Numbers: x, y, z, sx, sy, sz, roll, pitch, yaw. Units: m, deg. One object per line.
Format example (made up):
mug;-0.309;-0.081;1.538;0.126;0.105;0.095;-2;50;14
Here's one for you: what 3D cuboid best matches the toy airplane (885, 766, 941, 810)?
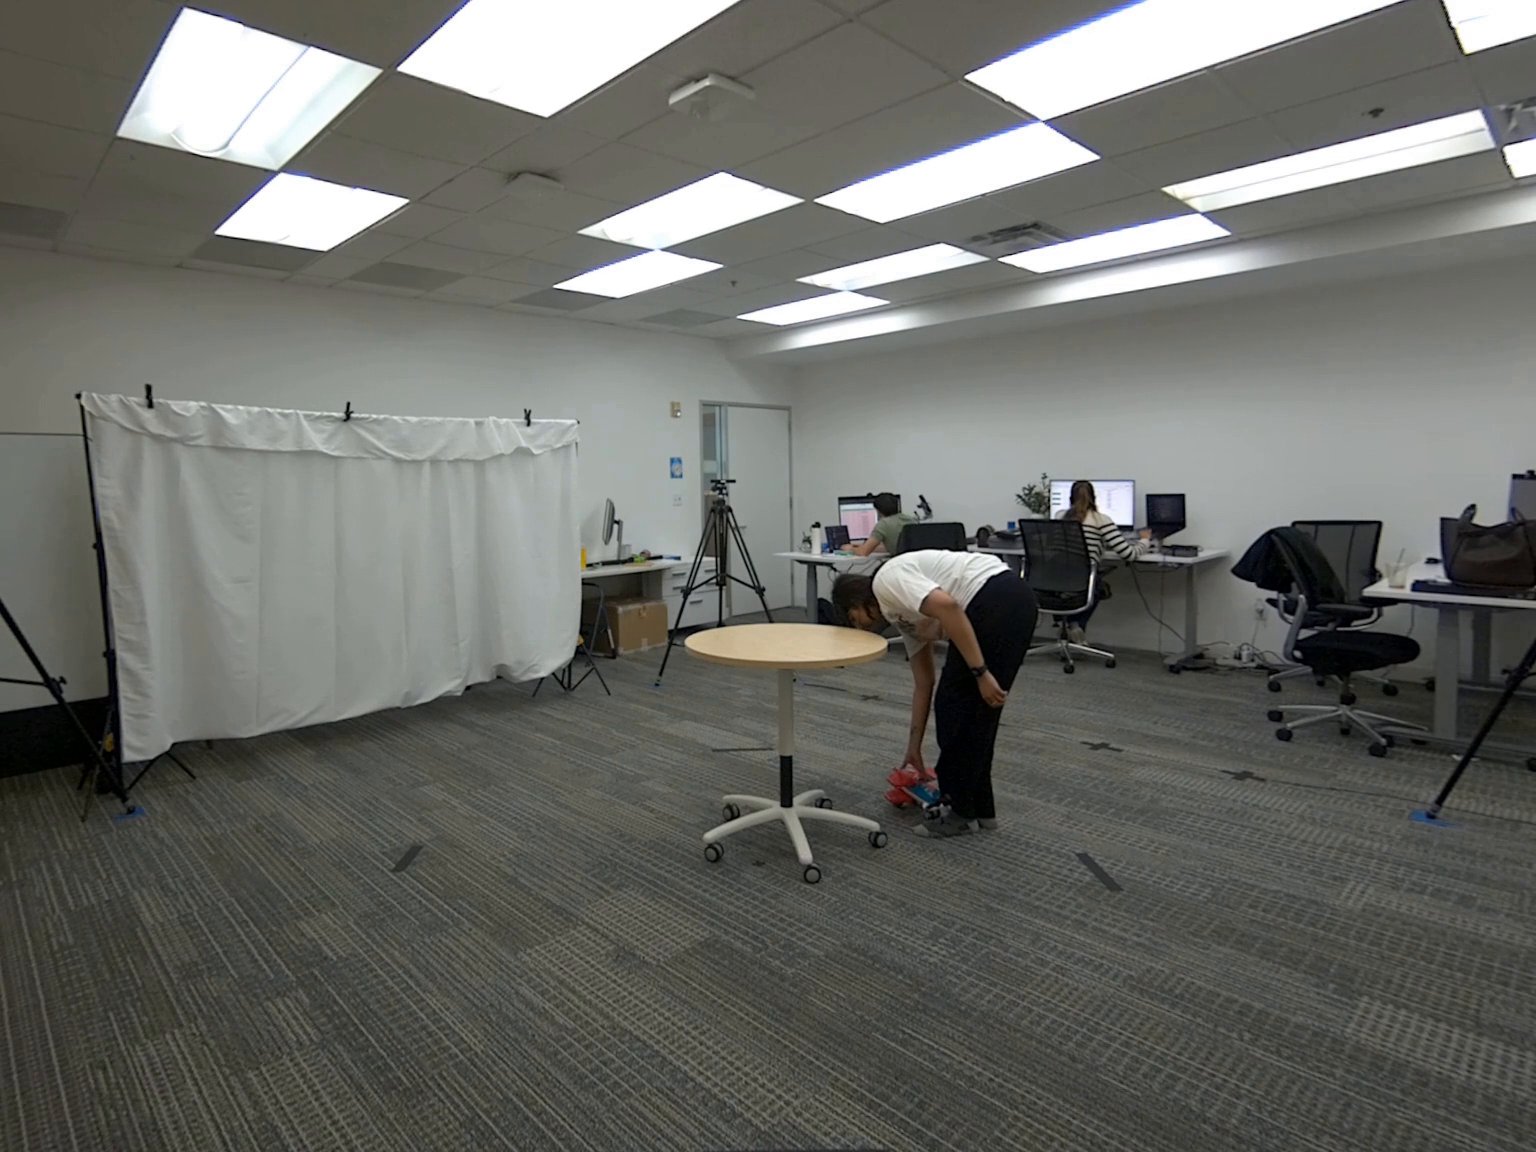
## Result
toy airplane;0.645;0.908;3.589;0.266;0.156;0.244;1;3;36
